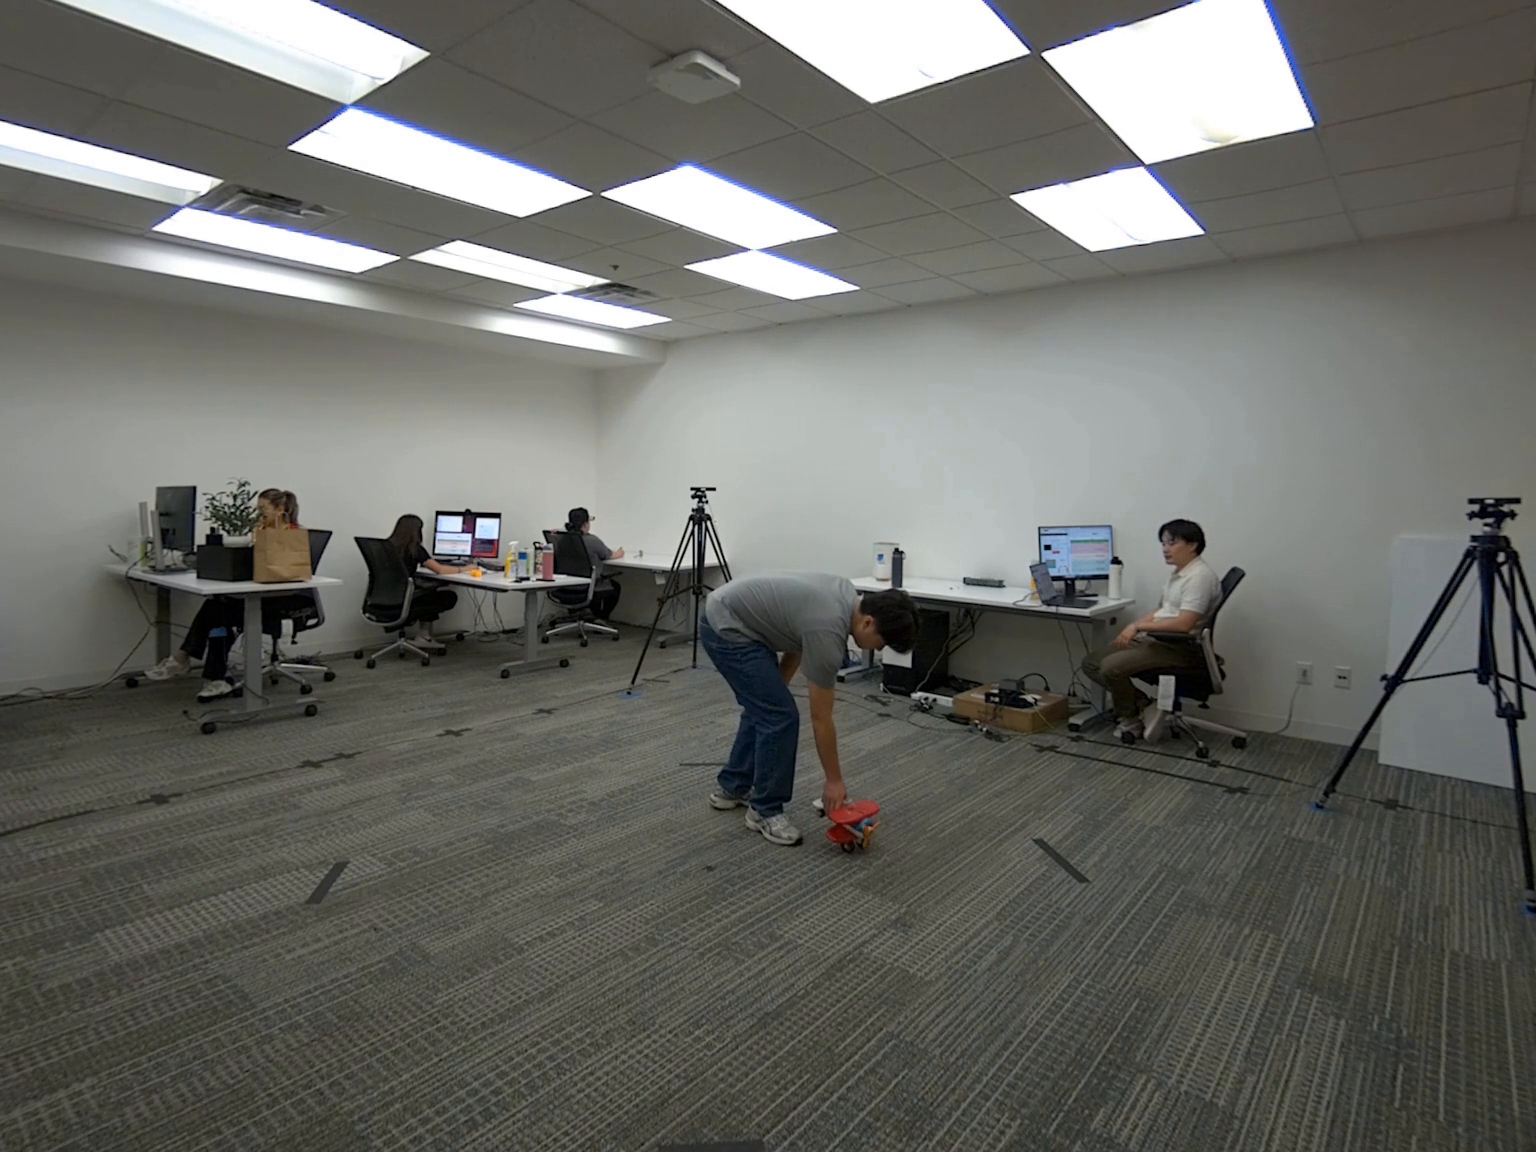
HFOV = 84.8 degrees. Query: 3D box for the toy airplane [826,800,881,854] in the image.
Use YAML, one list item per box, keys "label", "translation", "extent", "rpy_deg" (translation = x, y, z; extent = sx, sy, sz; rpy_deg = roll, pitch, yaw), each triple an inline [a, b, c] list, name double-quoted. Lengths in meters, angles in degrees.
- label: "toy airplane"
  translation: [0.282, 0.952, 3.330]
  extent: [0.265, 0.154, 0.249]
  rpy_deg: [28, 26, 14]
